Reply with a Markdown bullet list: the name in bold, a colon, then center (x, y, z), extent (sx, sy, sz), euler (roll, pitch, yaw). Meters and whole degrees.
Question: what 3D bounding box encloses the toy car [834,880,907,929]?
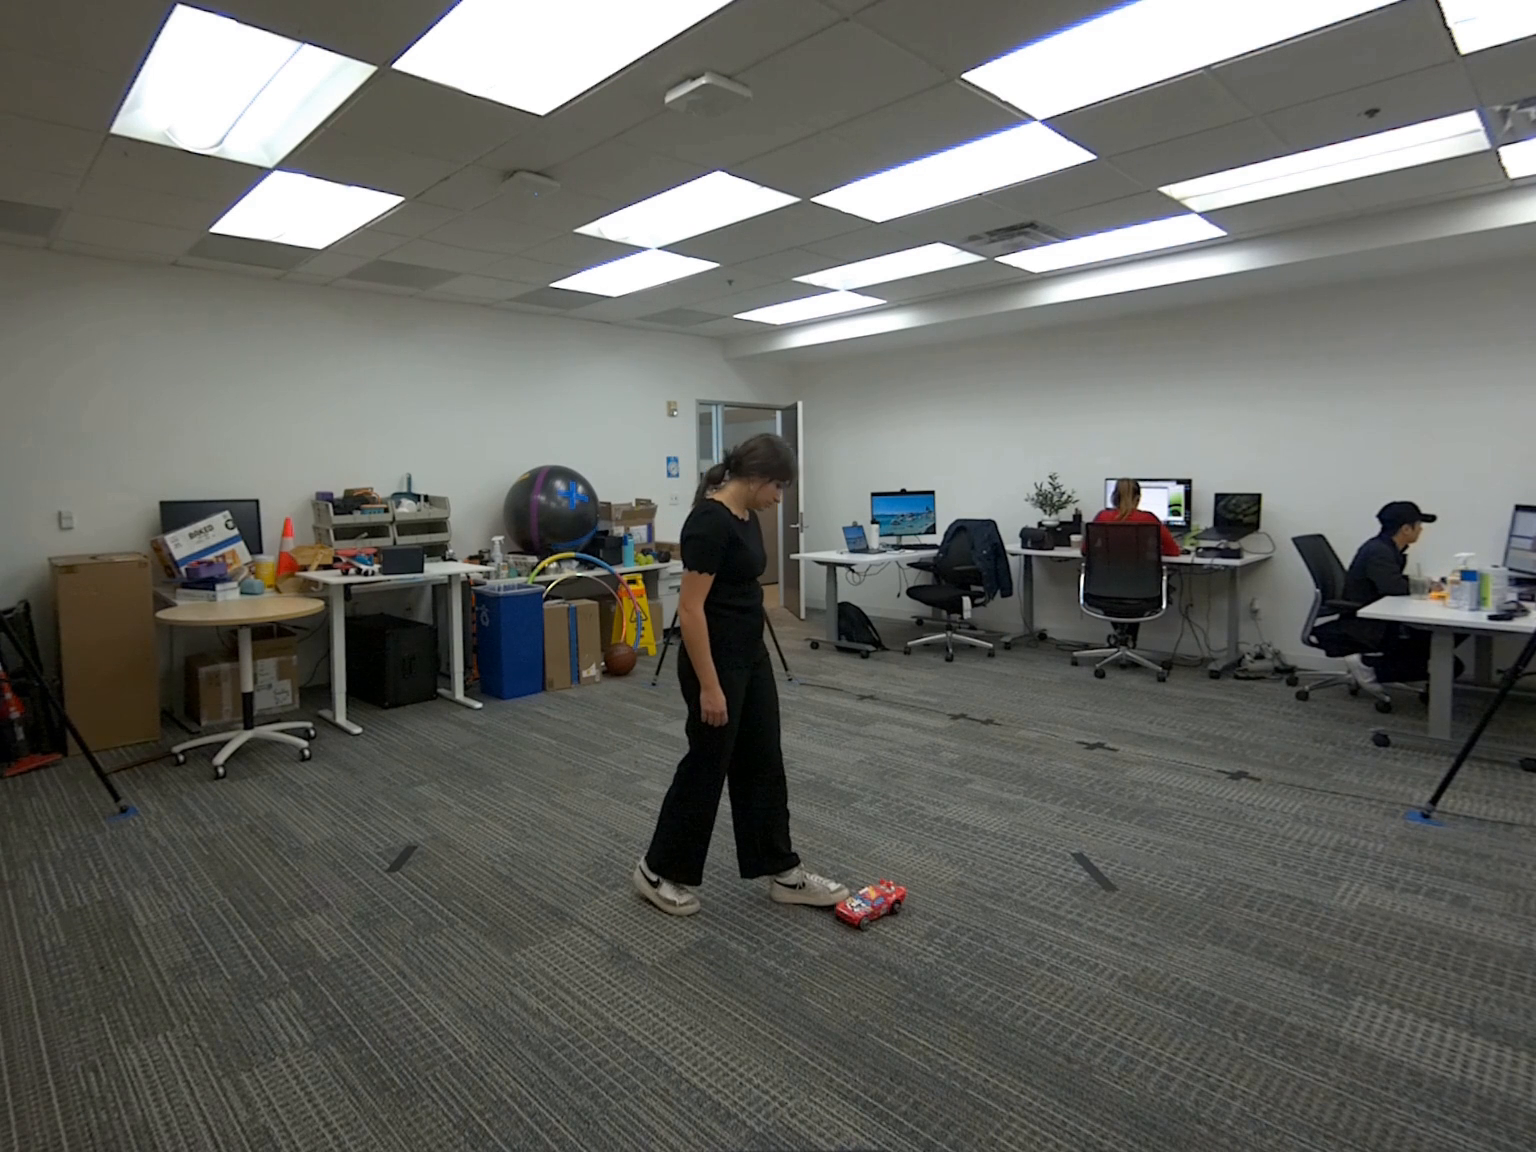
- **toy car**: center (0.337, 1.043, 2.728), extent (0.250, 0.082, 0.134), euler (-20, 17, -36)
